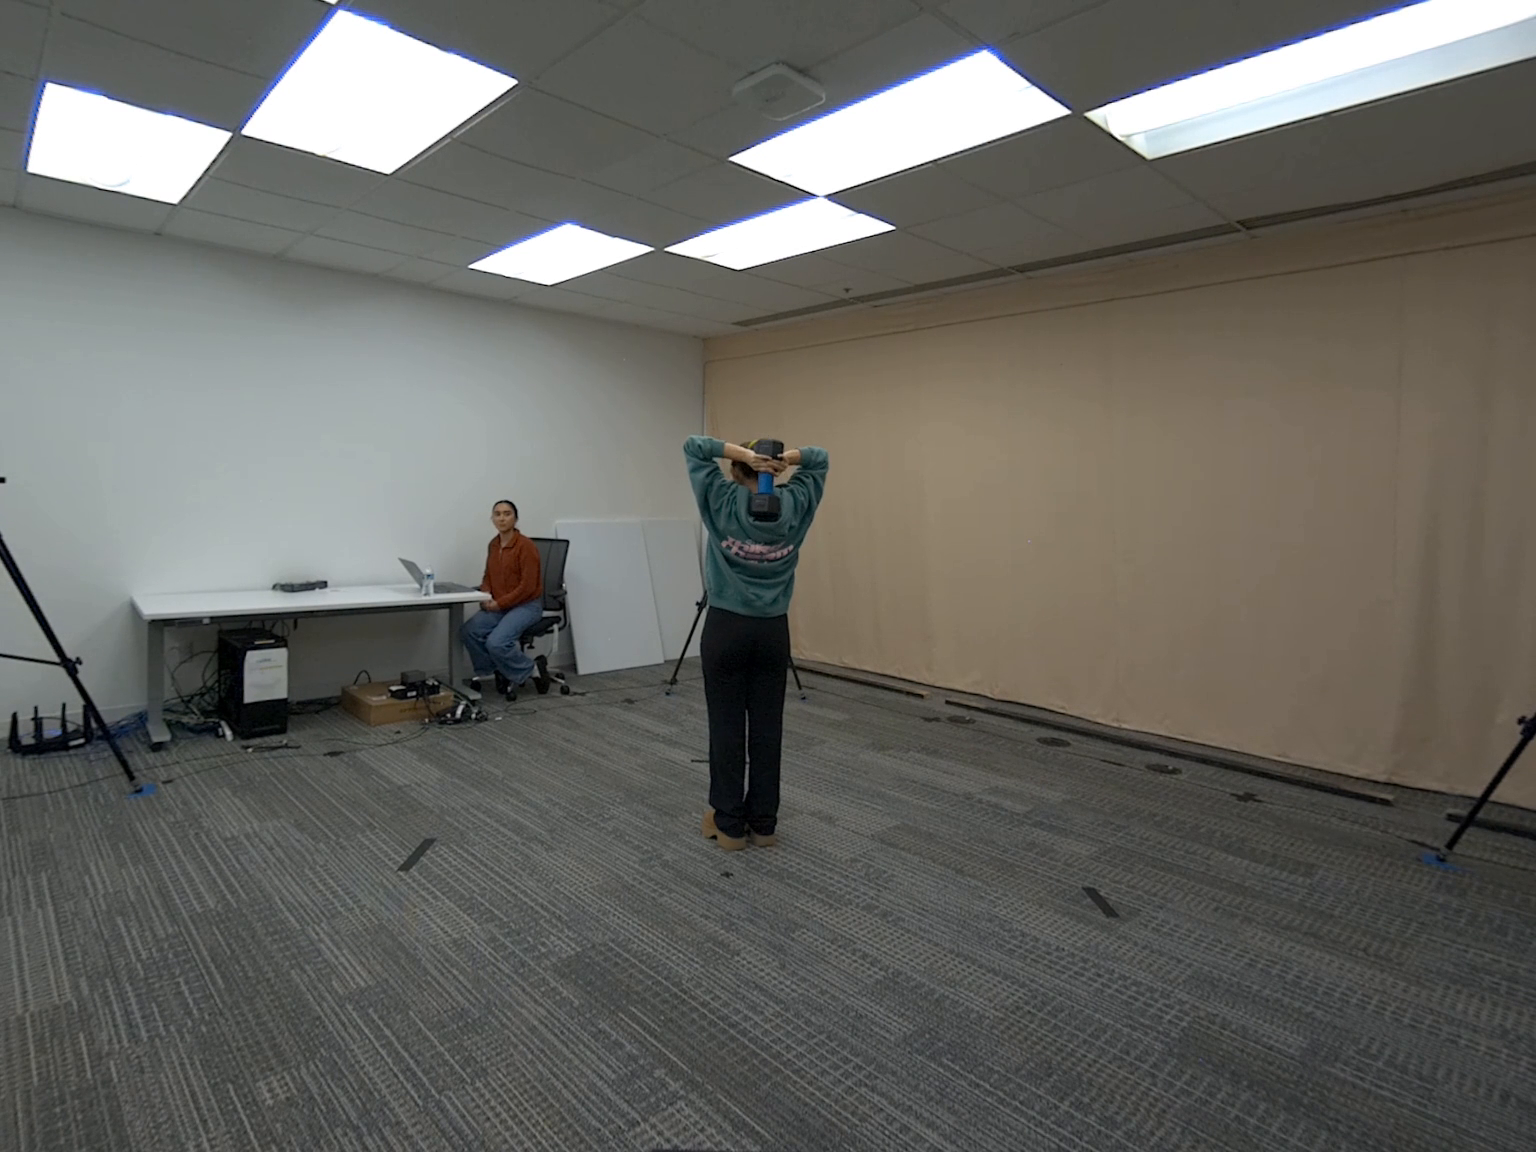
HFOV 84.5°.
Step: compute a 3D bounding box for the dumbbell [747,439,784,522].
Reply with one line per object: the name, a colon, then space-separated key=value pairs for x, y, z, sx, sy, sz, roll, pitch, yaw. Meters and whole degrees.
dumbbell: x=-0.018 y=-0.378 z=3.234 sx=0.107 sy=0.295 sz=0.124 roll=4 pitch=-6 yaw=-22
